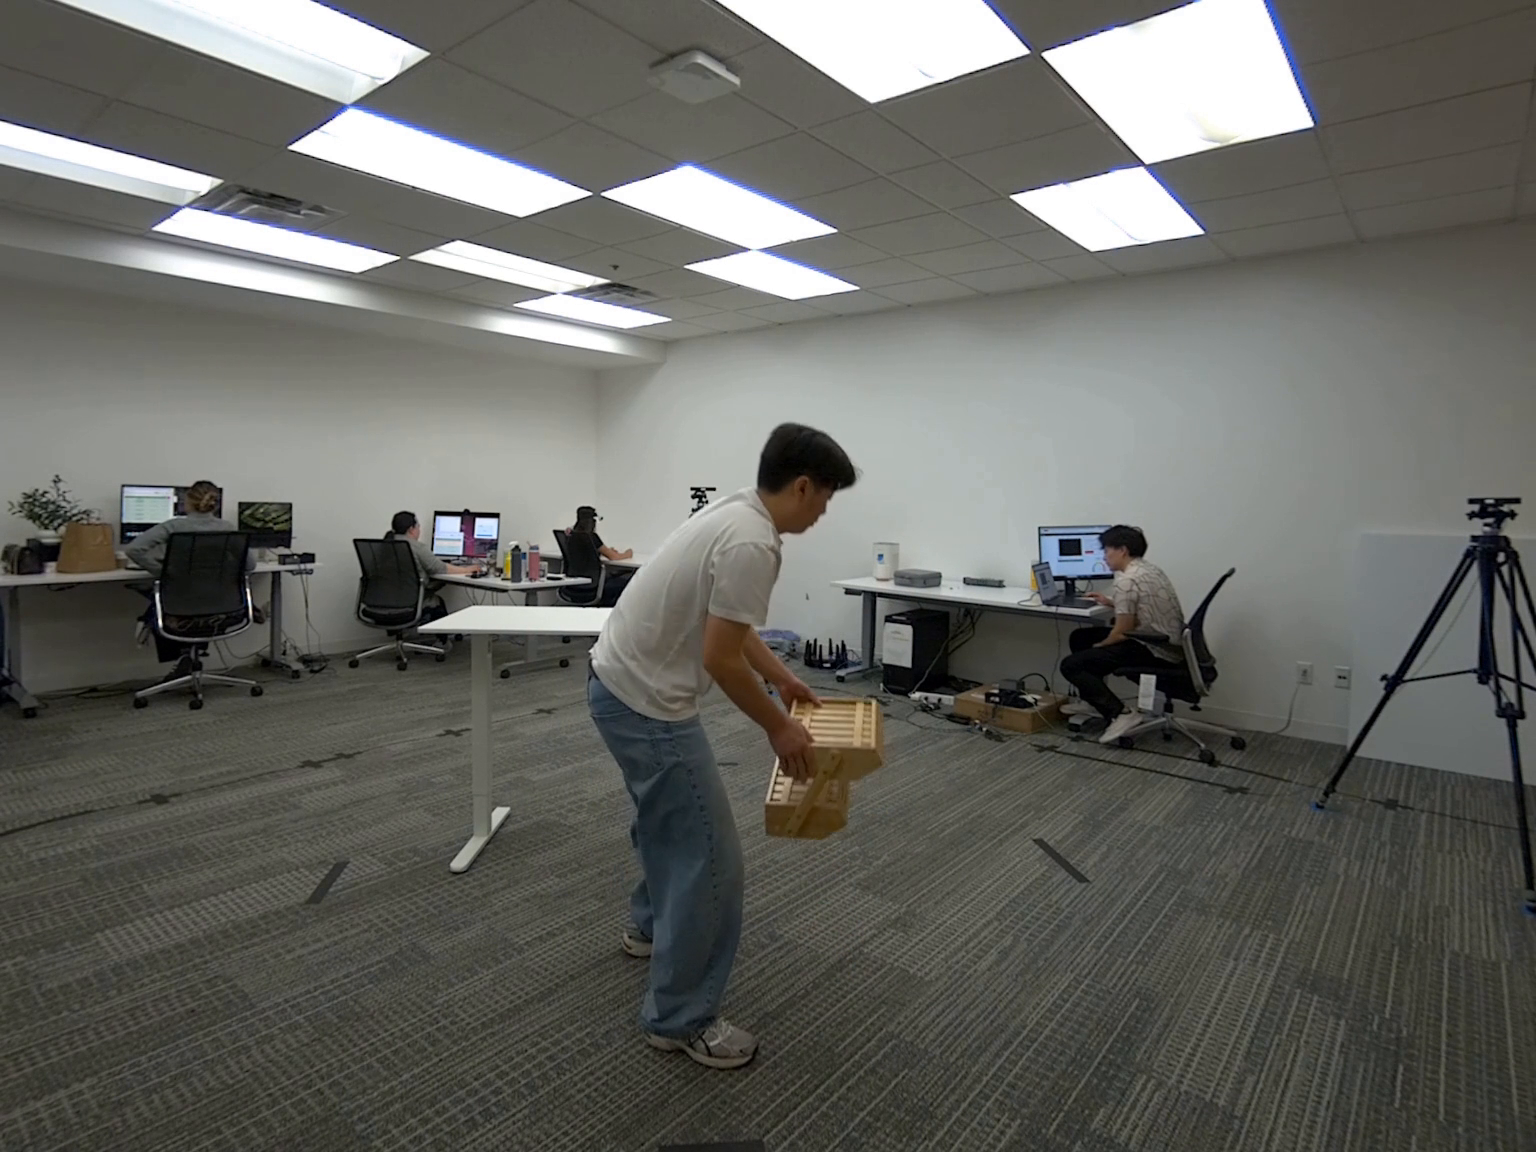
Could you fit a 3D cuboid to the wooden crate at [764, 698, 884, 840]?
[{"bbox_3d":[0.139,0.522,2.291,0.305,0.270,0.326,0,14,8],"label":"wooden crate"}]
